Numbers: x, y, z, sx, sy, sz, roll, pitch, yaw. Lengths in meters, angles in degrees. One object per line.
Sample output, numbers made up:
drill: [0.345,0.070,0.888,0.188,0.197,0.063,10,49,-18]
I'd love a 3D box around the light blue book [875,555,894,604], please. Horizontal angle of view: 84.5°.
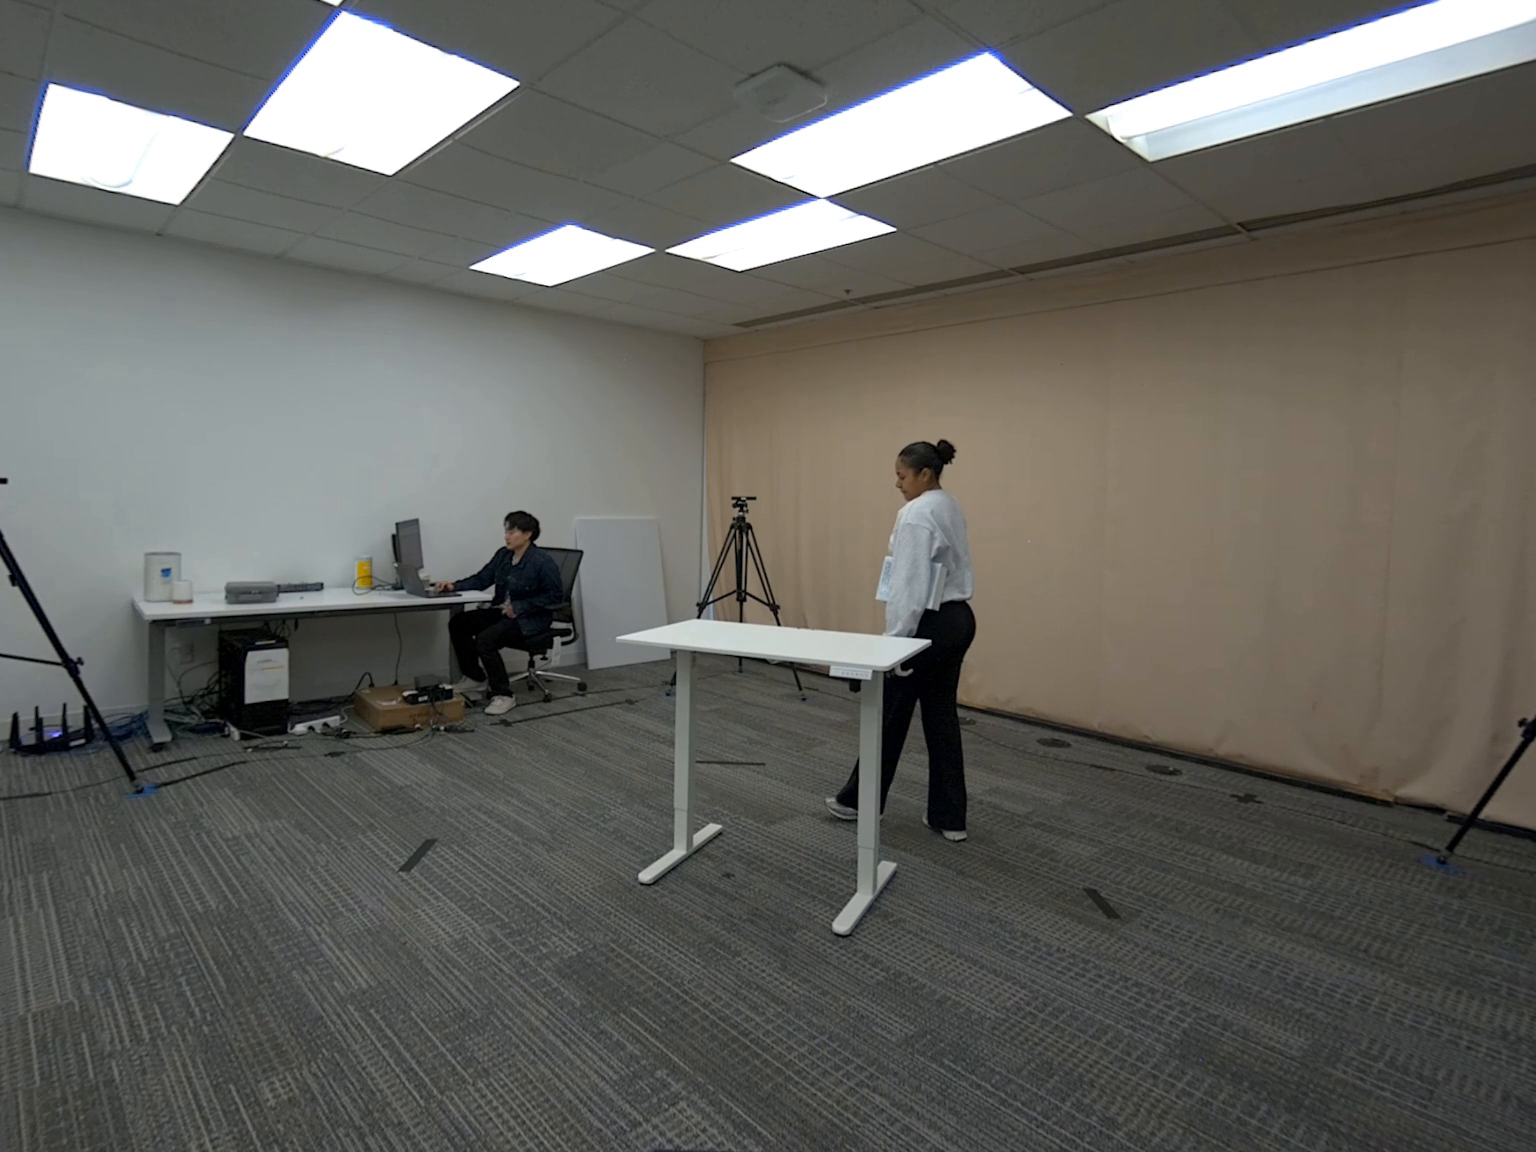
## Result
light blue book: [0.550,0.024,3.456,0.268,0.192,0.057,9,-11,41]
